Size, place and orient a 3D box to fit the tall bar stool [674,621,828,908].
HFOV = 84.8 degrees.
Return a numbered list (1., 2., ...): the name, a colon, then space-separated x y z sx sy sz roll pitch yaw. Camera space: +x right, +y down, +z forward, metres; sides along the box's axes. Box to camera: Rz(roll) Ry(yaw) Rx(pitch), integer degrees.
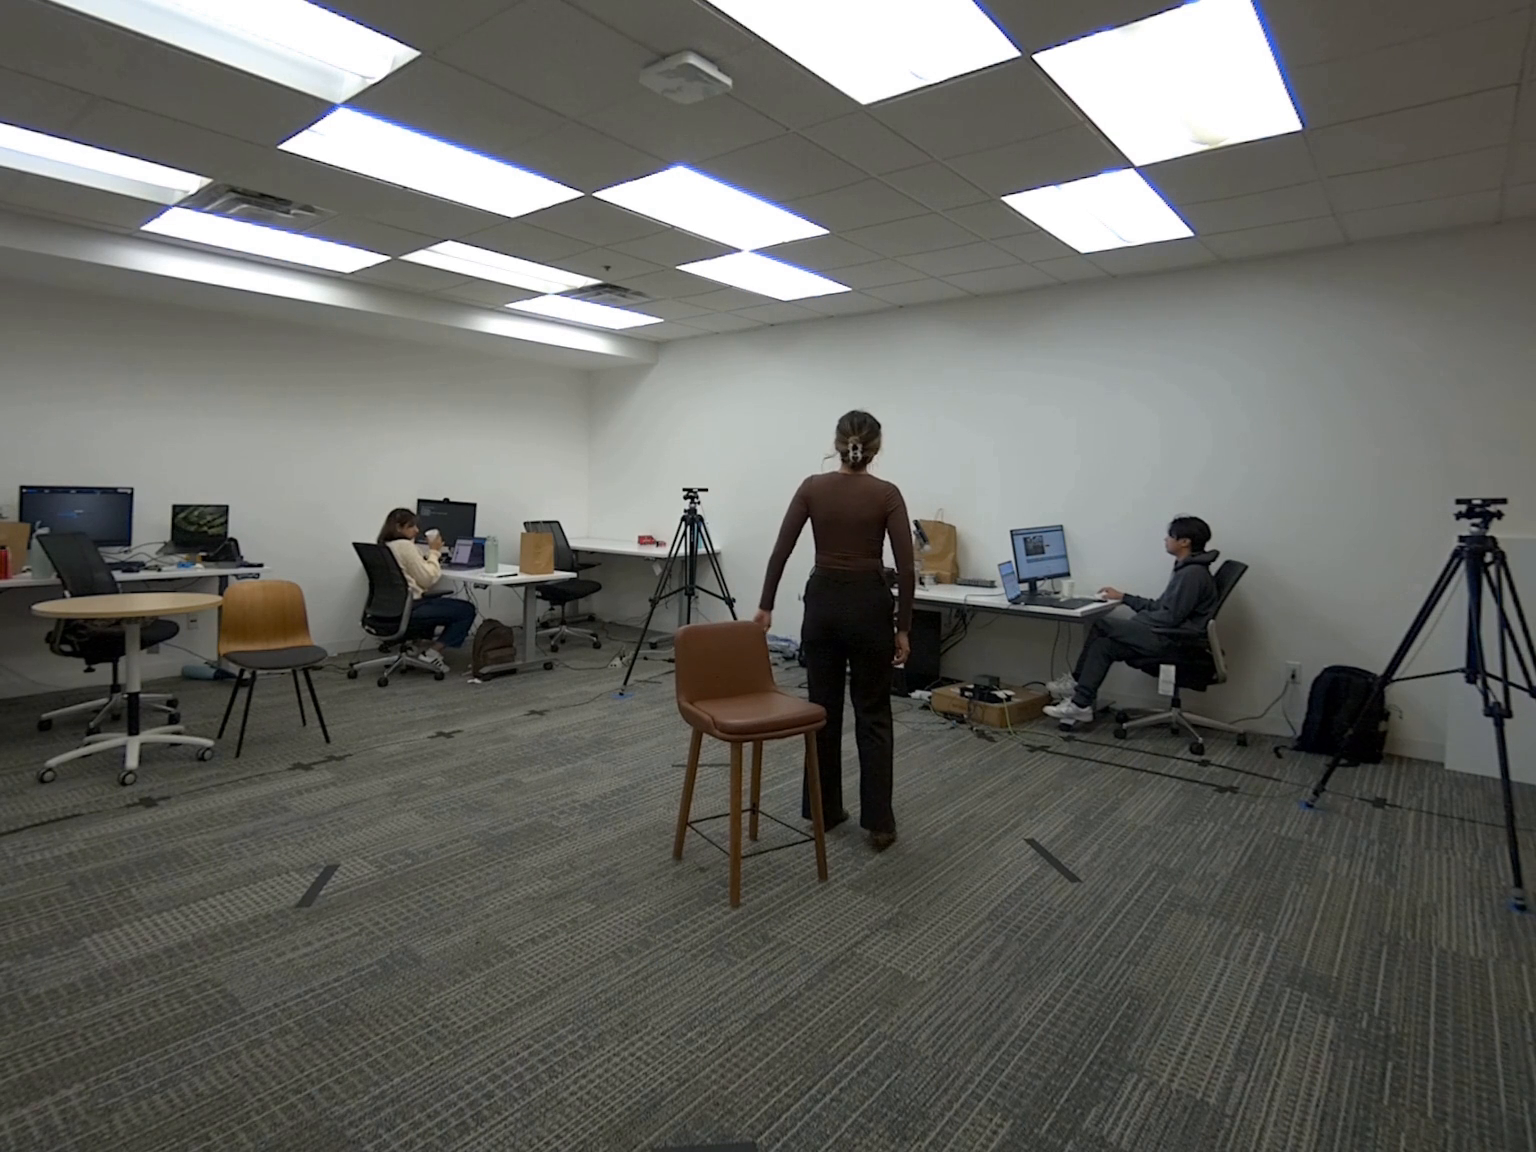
1. tall bar stool: -0.081 0.638 3.104 0.443 0.889 0.482 -1 2 -34
